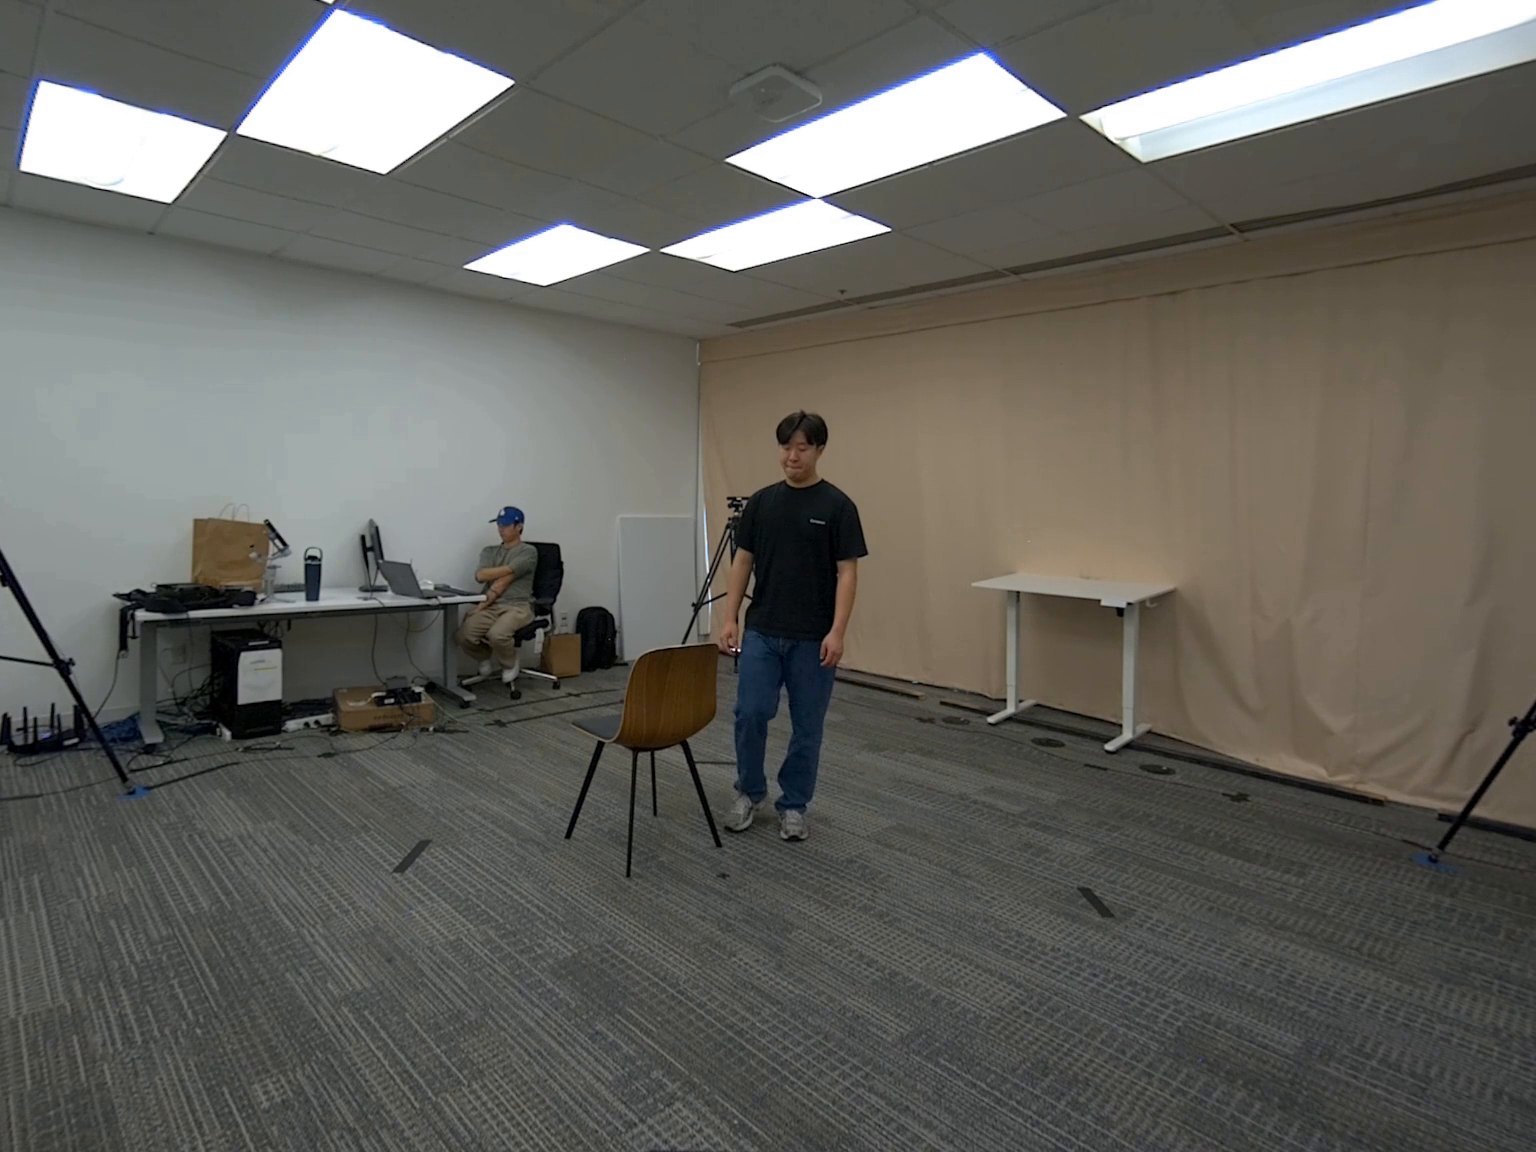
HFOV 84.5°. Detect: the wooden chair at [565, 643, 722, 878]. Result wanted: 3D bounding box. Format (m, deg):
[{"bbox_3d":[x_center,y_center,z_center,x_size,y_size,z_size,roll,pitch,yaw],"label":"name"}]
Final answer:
[{"bbox_3d":[-0.500,0.651,3.352,0.467,0.873,0.537,-2,9,-42],"label":"wooden chair"}]
